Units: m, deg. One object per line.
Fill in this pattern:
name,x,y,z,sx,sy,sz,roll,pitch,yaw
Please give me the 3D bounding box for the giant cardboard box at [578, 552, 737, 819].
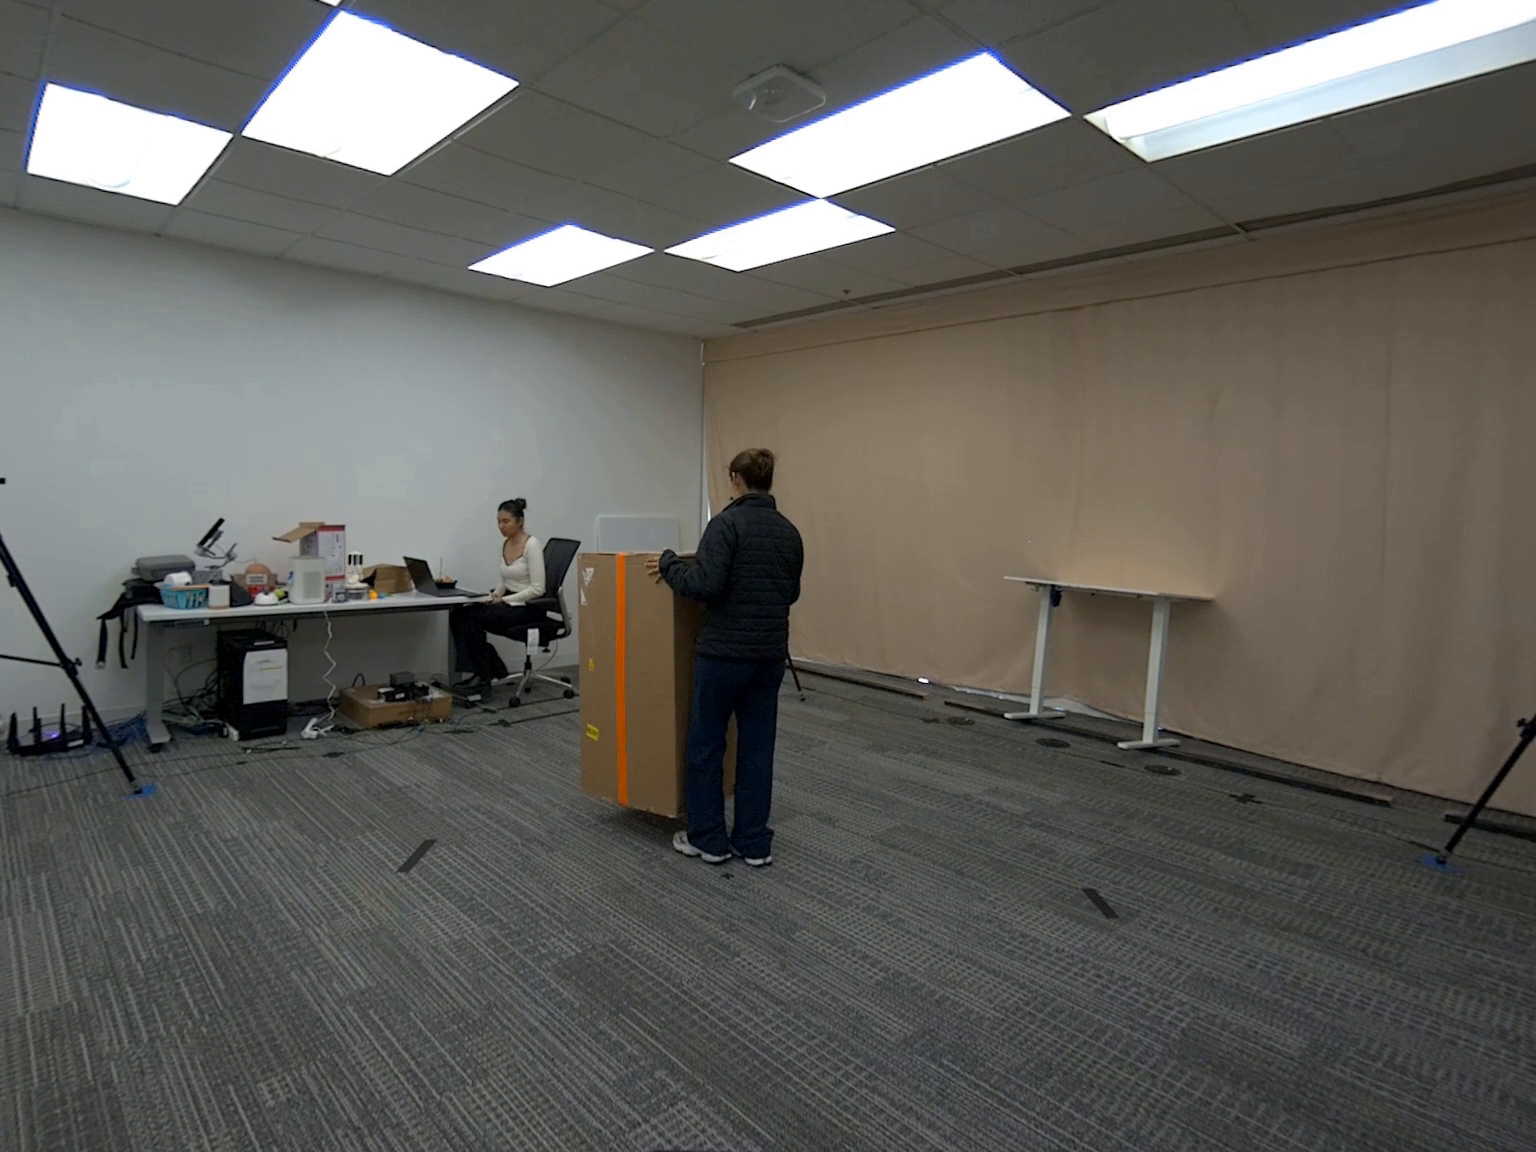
giant cardboard box,-0.467,0.418,3.559,0.591,1.025,0.416,0,1,40
